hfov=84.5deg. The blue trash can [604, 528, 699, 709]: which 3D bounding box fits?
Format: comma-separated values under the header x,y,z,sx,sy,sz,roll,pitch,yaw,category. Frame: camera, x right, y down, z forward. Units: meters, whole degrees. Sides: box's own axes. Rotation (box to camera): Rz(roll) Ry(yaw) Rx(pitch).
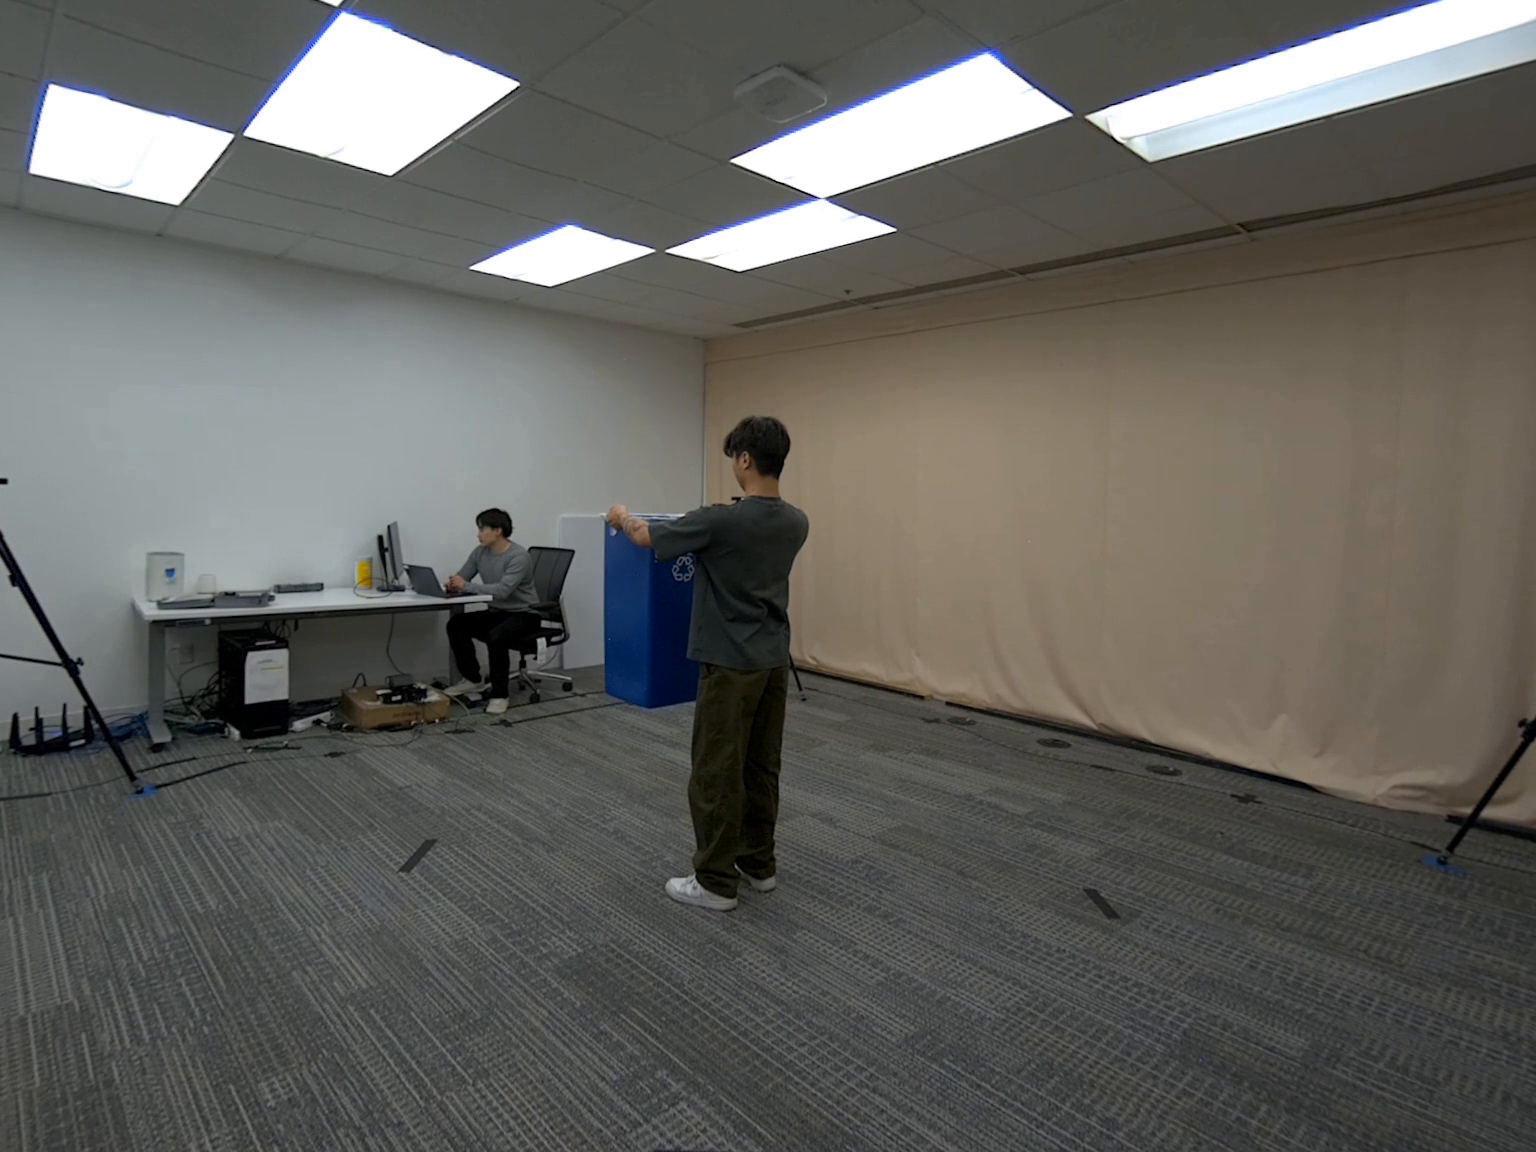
x,y,z,sx,sy,sz,roll,pitch,yaw,category
-0.444,0.123,3.313,0.369,0.711,0.384,-1,6,-44,blue trash can
